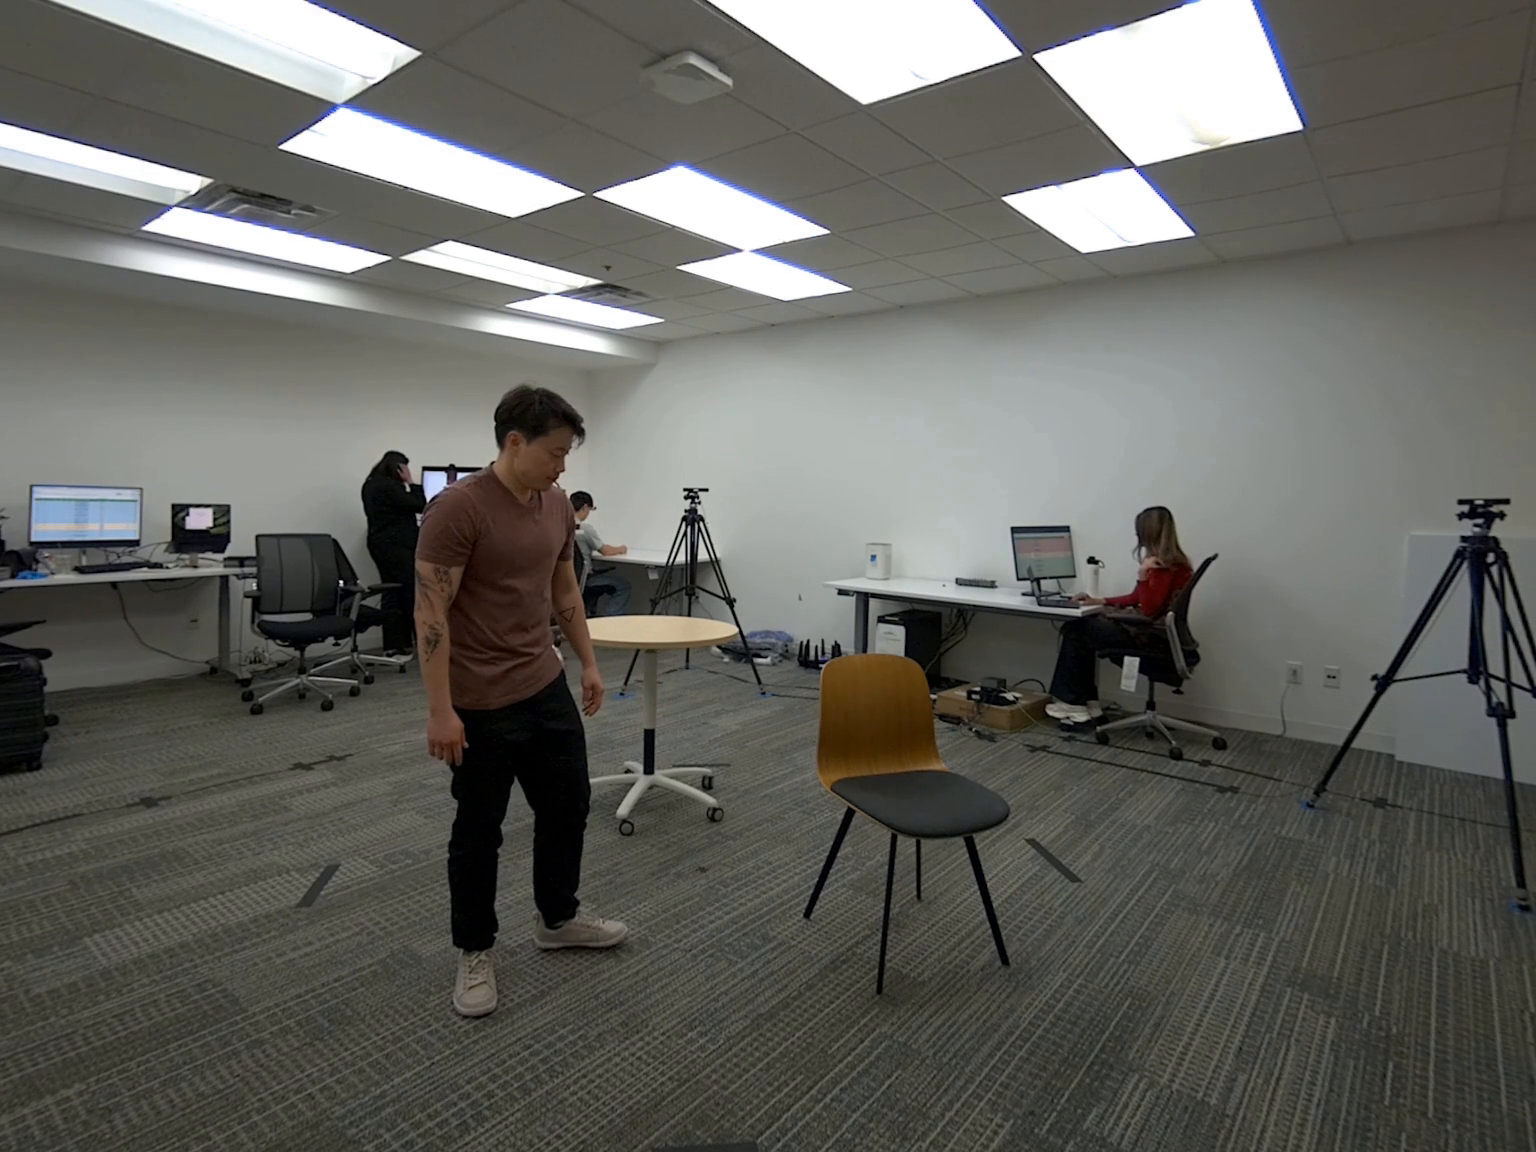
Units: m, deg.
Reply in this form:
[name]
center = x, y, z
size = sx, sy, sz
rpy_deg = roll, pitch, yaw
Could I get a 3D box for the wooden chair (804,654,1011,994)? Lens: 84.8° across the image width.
[wooden chair]
center = 0.421, 0.704, 2.610
size = 0.467, 0.878, 0.535
rpy_deg = 0, 0, -24
